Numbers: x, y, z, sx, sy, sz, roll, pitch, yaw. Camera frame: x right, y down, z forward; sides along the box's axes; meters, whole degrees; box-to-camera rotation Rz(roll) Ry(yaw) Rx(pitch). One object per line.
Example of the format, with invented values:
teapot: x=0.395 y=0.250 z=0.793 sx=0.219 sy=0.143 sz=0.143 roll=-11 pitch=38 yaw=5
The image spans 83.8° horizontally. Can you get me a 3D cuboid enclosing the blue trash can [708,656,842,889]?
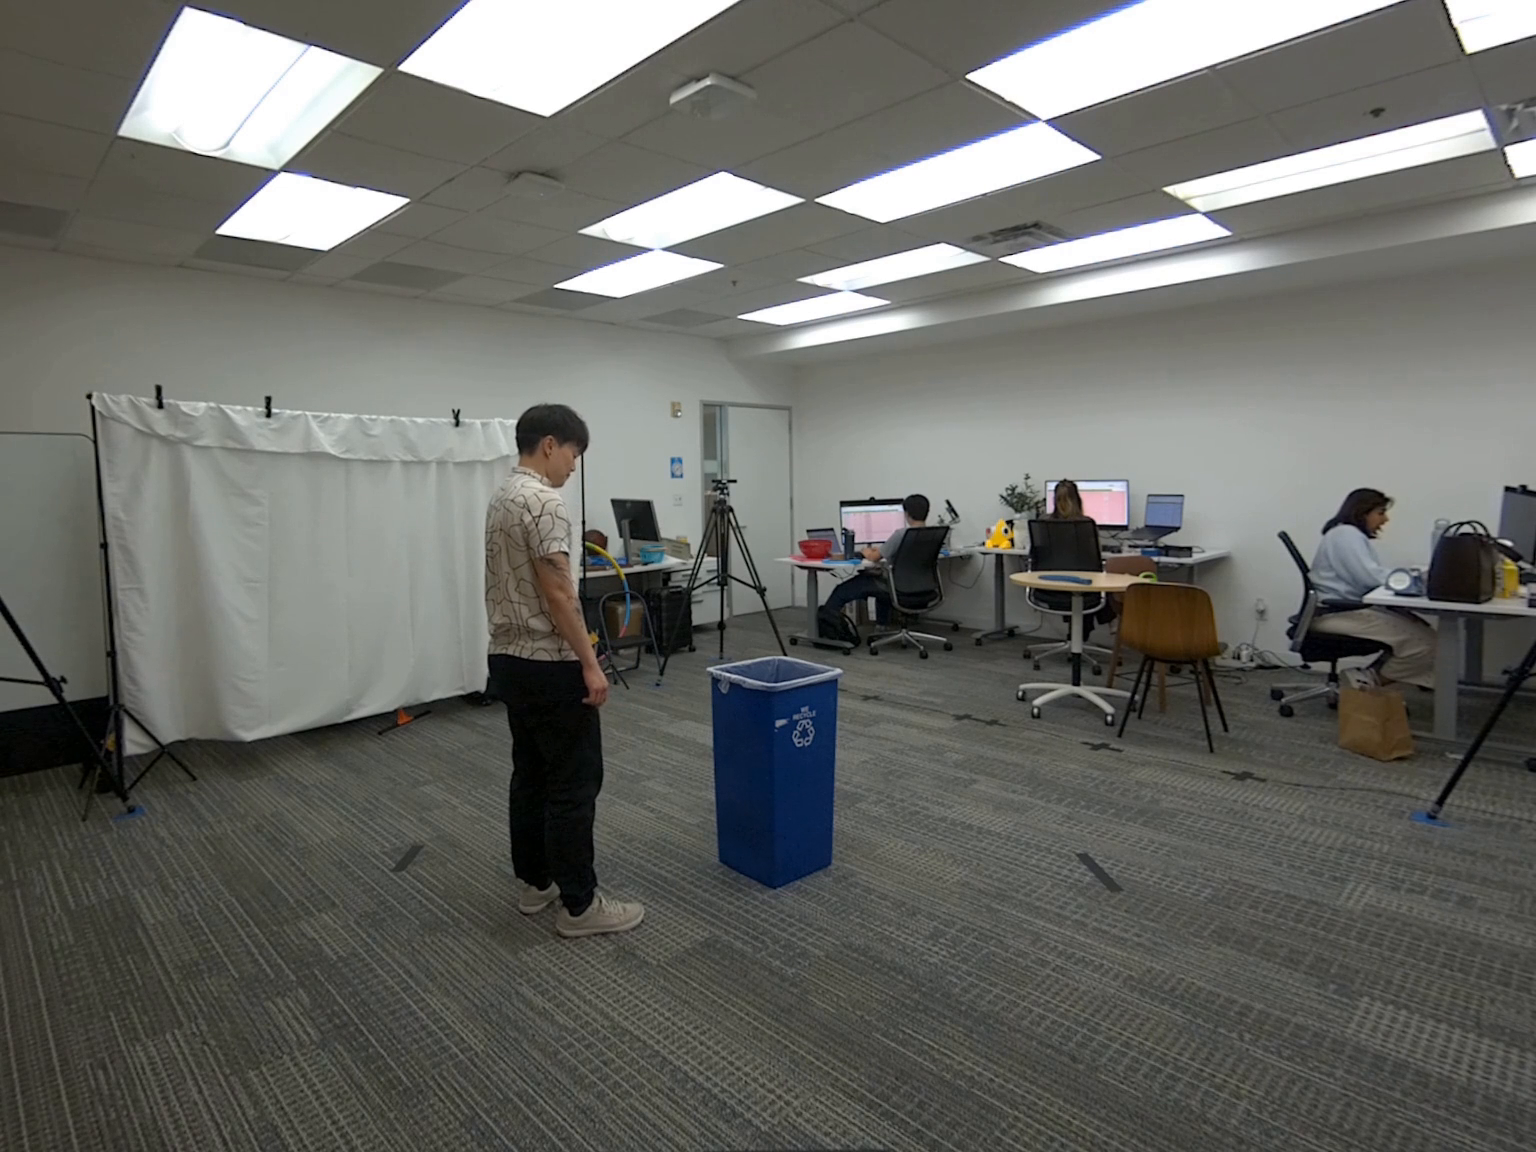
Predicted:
blue trash can: x=0.034 y=0.690 z=3.093 sx=0.368 sy=0.711 sz=0.385 roll=-4 pitch=5 yaw=-42
